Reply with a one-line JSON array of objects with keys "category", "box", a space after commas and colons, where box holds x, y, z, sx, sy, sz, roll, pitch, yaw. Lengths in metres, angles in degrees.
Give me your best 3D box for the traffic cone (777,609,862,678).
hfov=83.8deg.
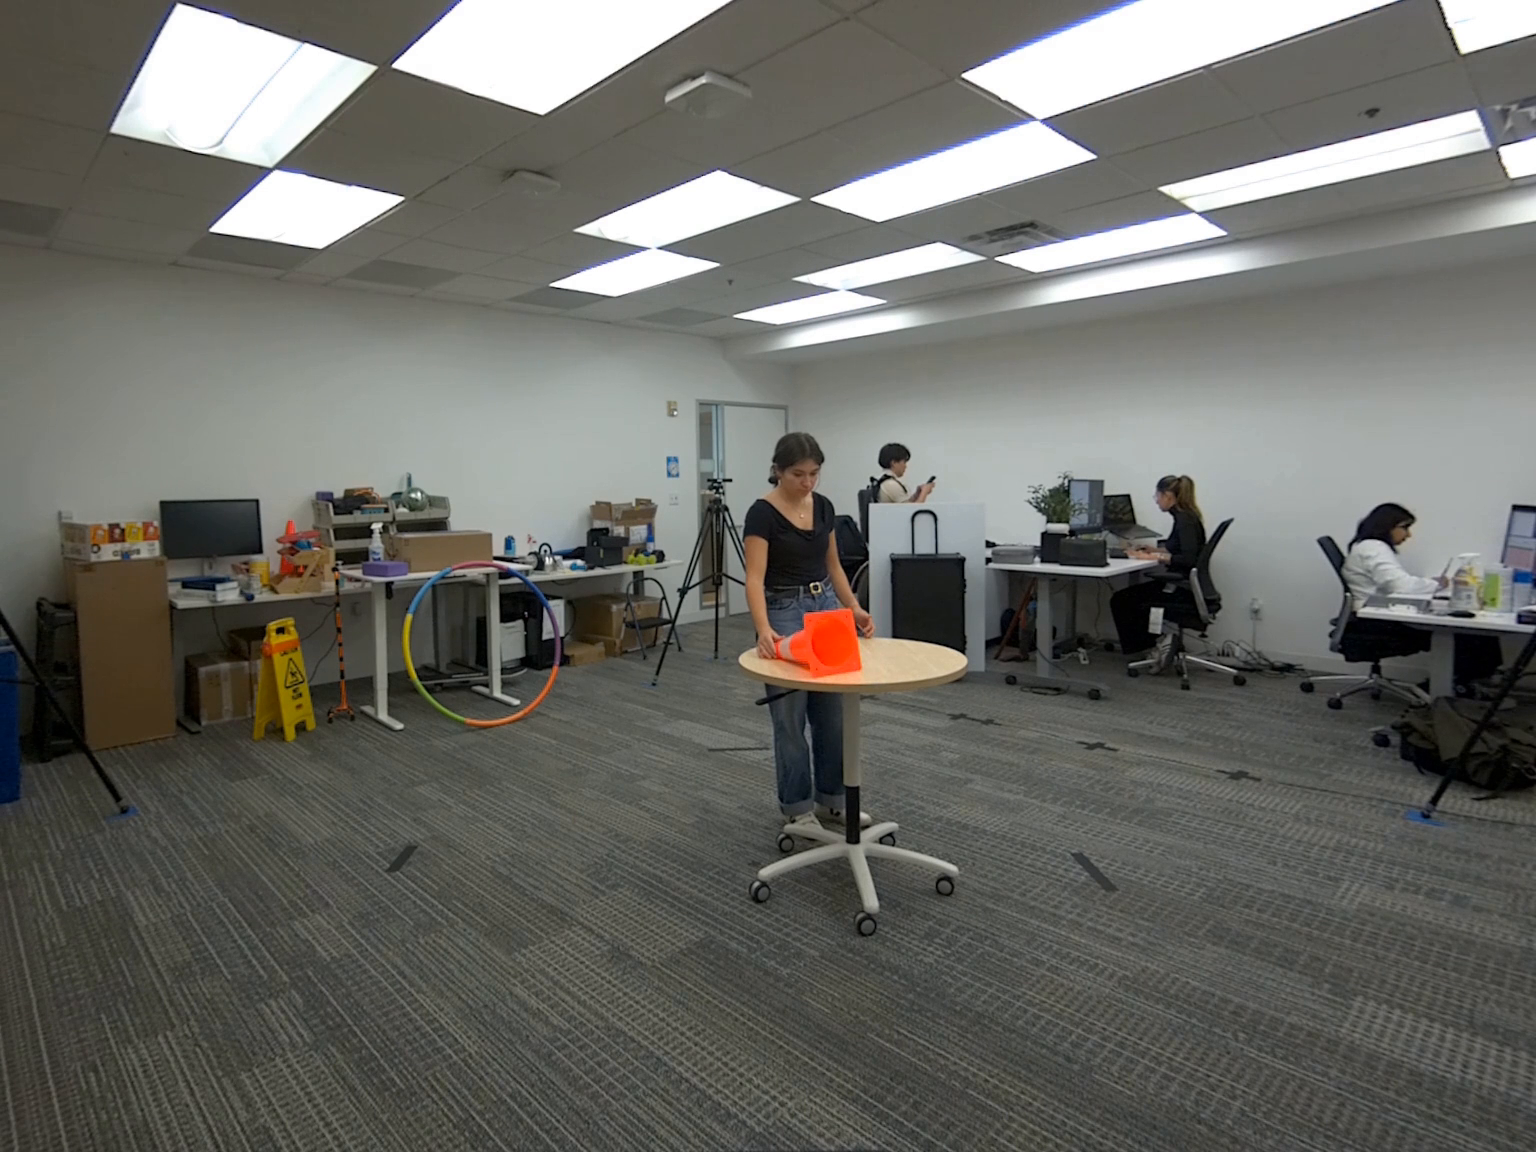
[{"category": "traffic cone", "box": [0.113, 0.239, 2.845, 0.200, 0.205, 0.390, -4, -6, -29]}]
